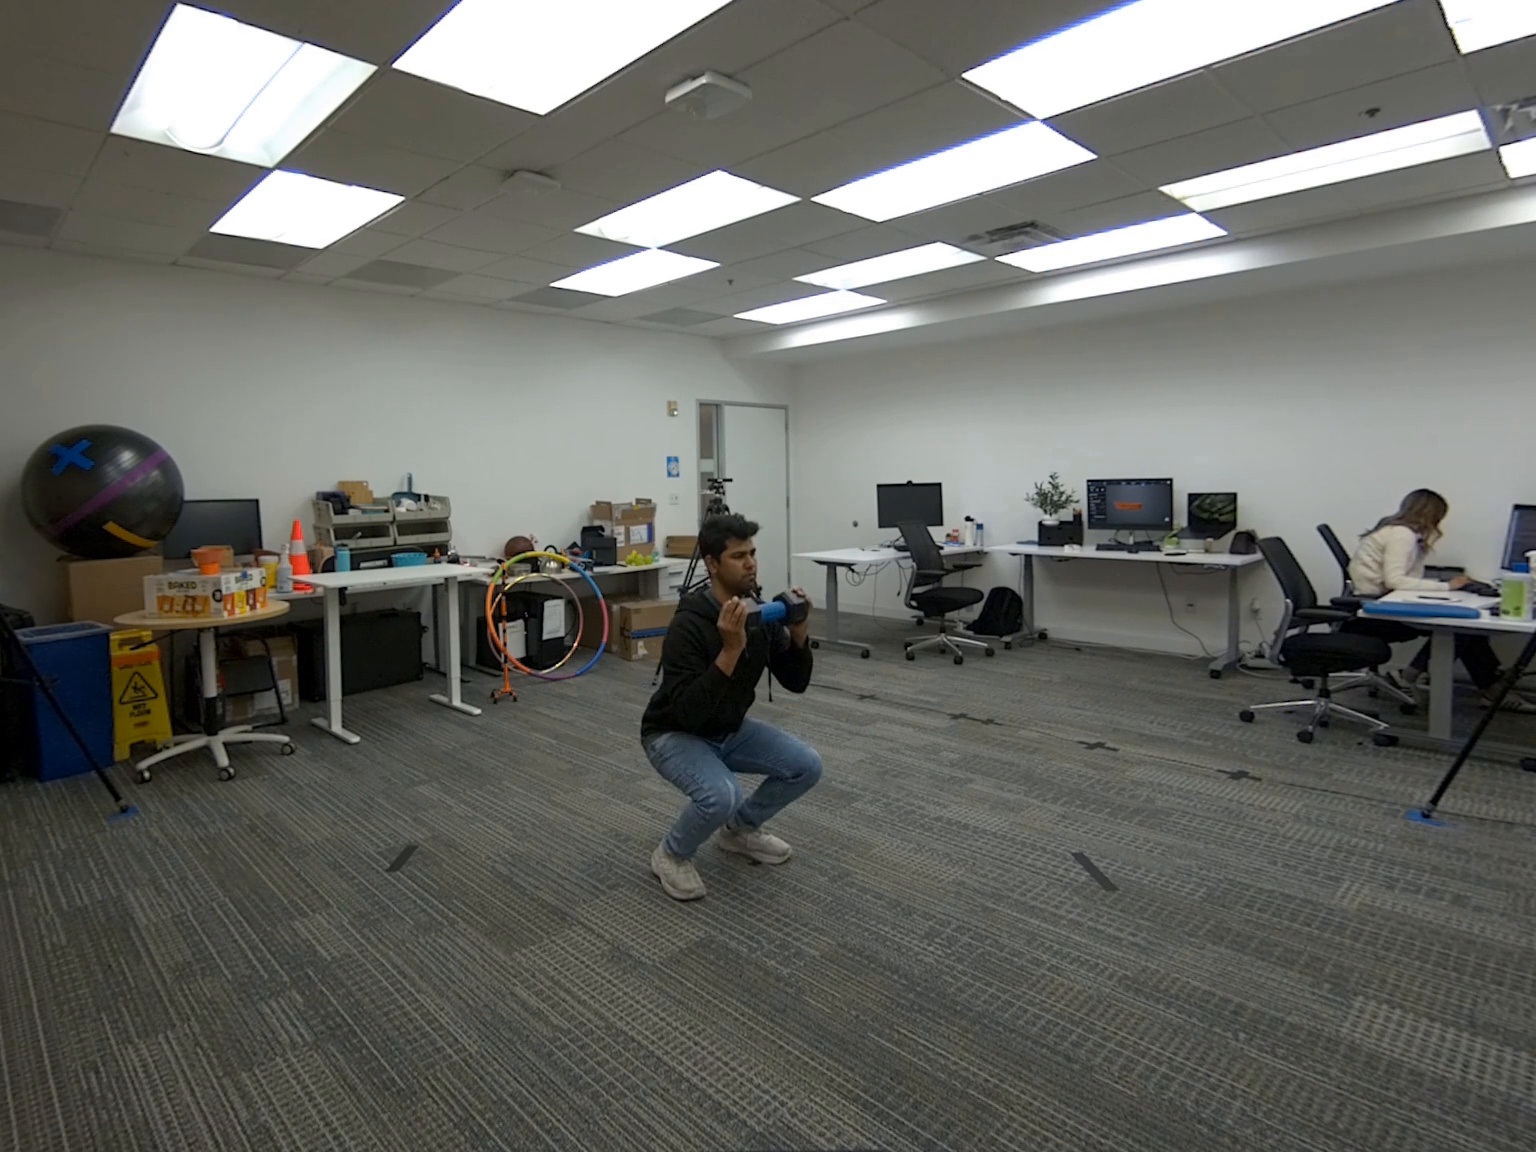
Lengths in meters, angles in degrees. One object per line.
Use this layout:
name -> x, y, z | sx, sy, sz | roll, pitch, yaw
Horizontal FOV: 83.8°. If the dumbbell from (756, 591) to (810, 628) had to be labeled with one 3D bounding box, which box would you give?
dumbbell -> -0.013, 0.114, 2.827 | 0.286, 0.122, 0.112 | -6, 12, -40
